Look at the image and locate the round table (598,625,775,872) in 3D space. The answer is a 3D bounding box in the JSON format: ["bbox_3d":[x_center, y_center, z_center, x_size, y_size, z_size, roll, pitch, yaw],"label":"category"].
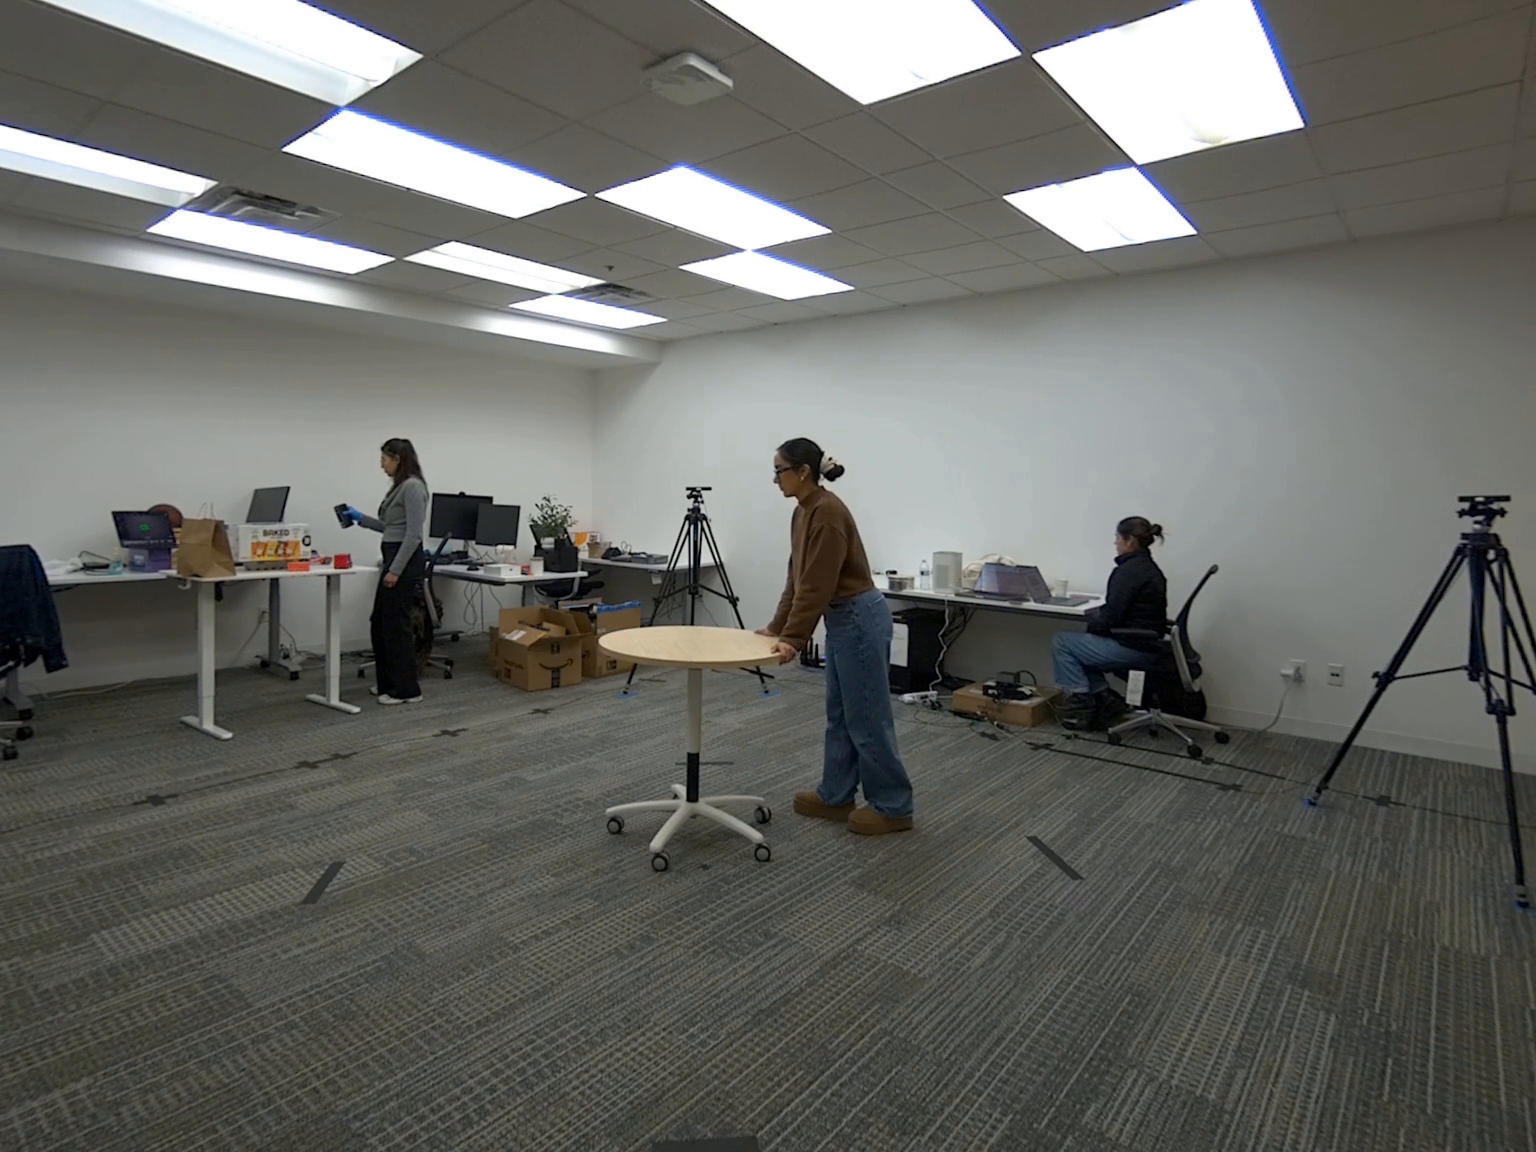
[{"bbox_3d":[-0.300,0.649,3.385,0.763,0.791,0.768,1,4,-2],"label":"round table"}]
